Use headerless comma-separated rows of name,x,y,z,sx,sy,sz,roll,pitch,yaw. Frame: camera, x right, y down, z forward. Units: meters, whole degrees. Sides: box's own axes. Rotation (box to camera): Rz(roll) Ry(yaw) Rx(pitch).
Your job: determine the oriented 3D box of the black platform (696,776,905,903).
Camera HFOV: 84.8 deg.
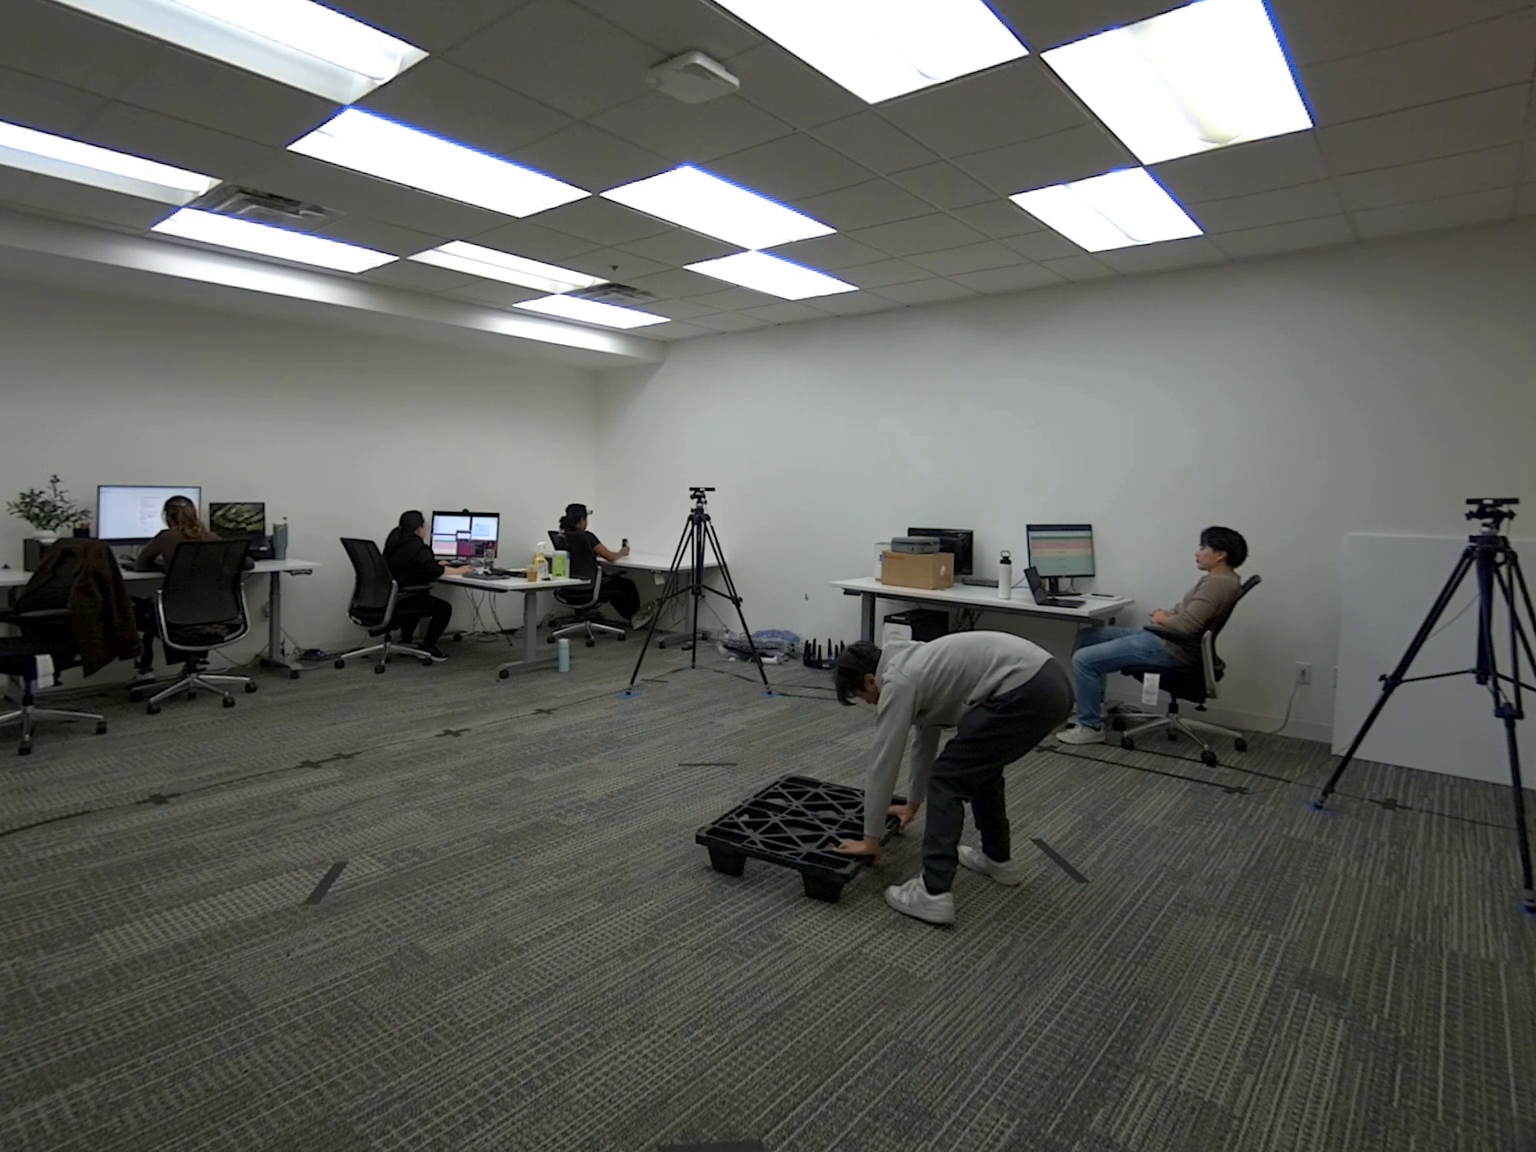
black platform,0.159,0.986,3.285,0.622,0.143,0.786,3,6,28
